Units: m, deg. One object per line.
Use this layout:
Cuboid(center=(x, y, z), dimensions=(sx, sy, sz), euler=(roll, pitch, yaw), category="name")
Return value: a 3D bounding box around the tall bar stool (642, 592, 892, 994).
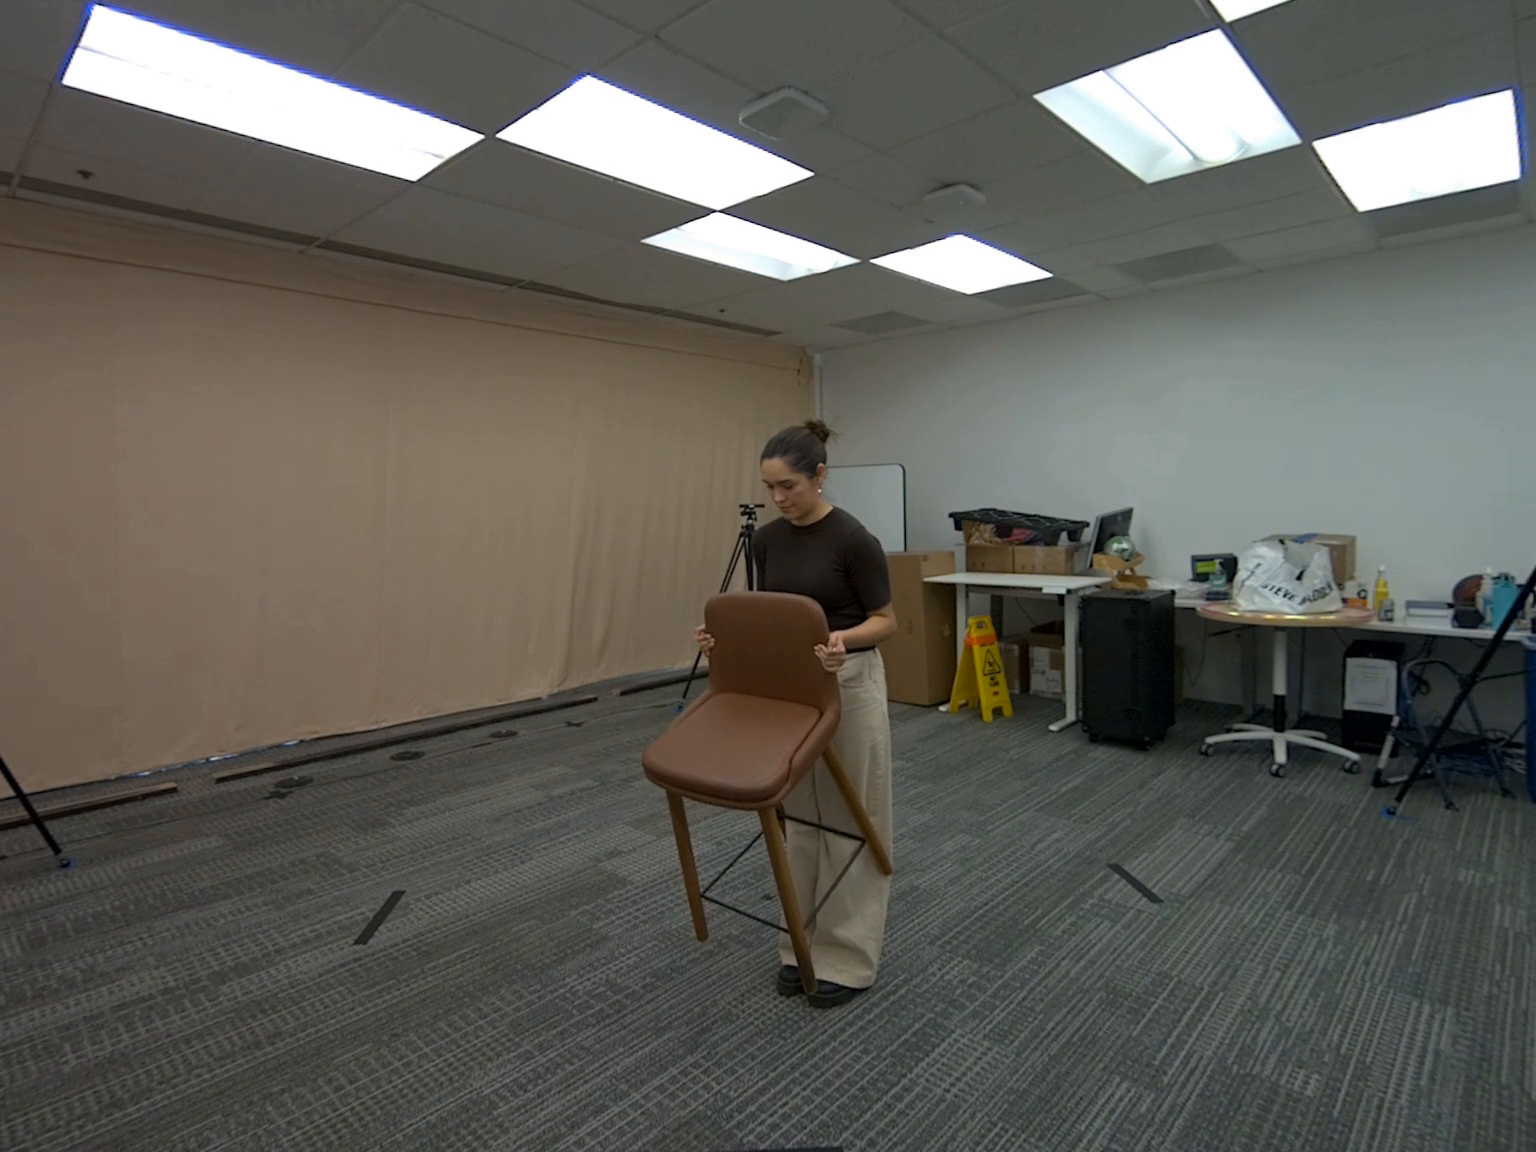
Cuboid(center=(-0.023, 0.547, 2.233), dimensions=(0.471, 0.876, 0.459), euler=(3, 25, 41), category="tall bar stool")
